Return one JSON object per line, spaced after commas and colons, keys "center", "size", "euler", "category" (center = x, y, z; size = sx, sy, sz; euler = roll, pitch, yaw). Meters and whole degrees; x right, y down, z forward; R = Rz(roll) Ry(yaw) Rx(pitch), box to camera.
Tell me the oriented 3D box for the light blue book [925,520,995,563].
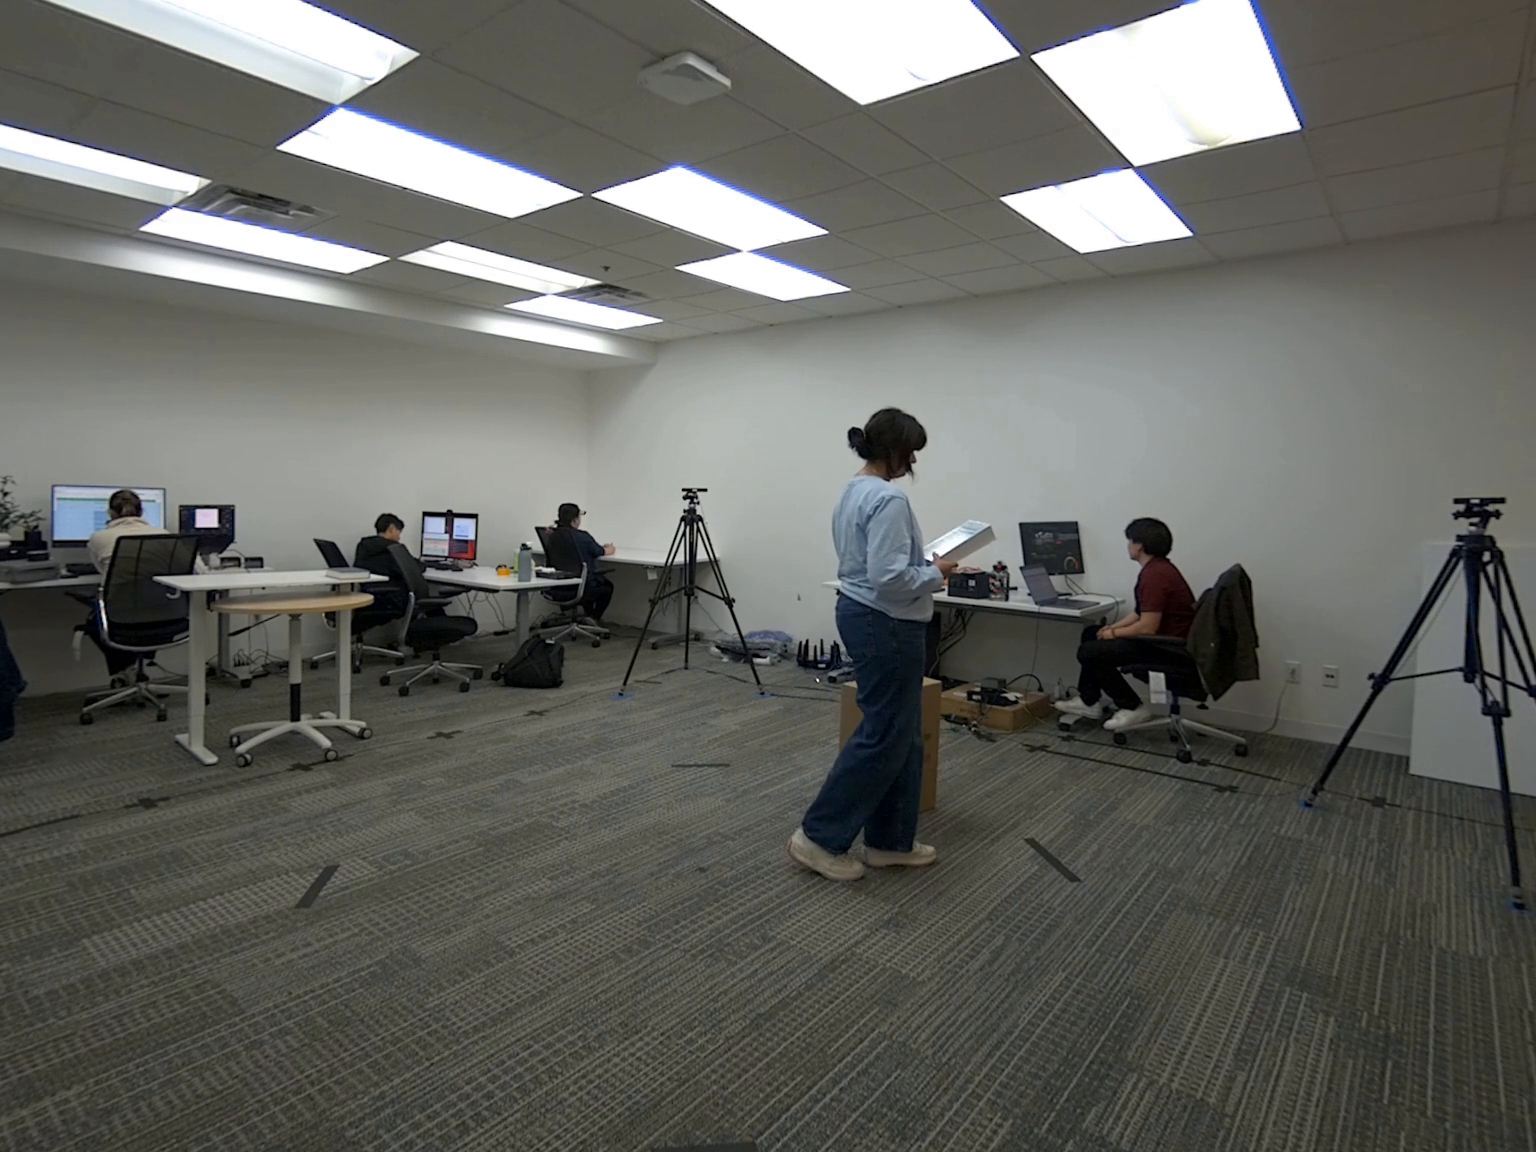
{"center": [0.693, -0.113, 3.168], "size": [0.260, 0.058, 0.195], "euler": [-30, 14, -6], "category": "light blue book"}
